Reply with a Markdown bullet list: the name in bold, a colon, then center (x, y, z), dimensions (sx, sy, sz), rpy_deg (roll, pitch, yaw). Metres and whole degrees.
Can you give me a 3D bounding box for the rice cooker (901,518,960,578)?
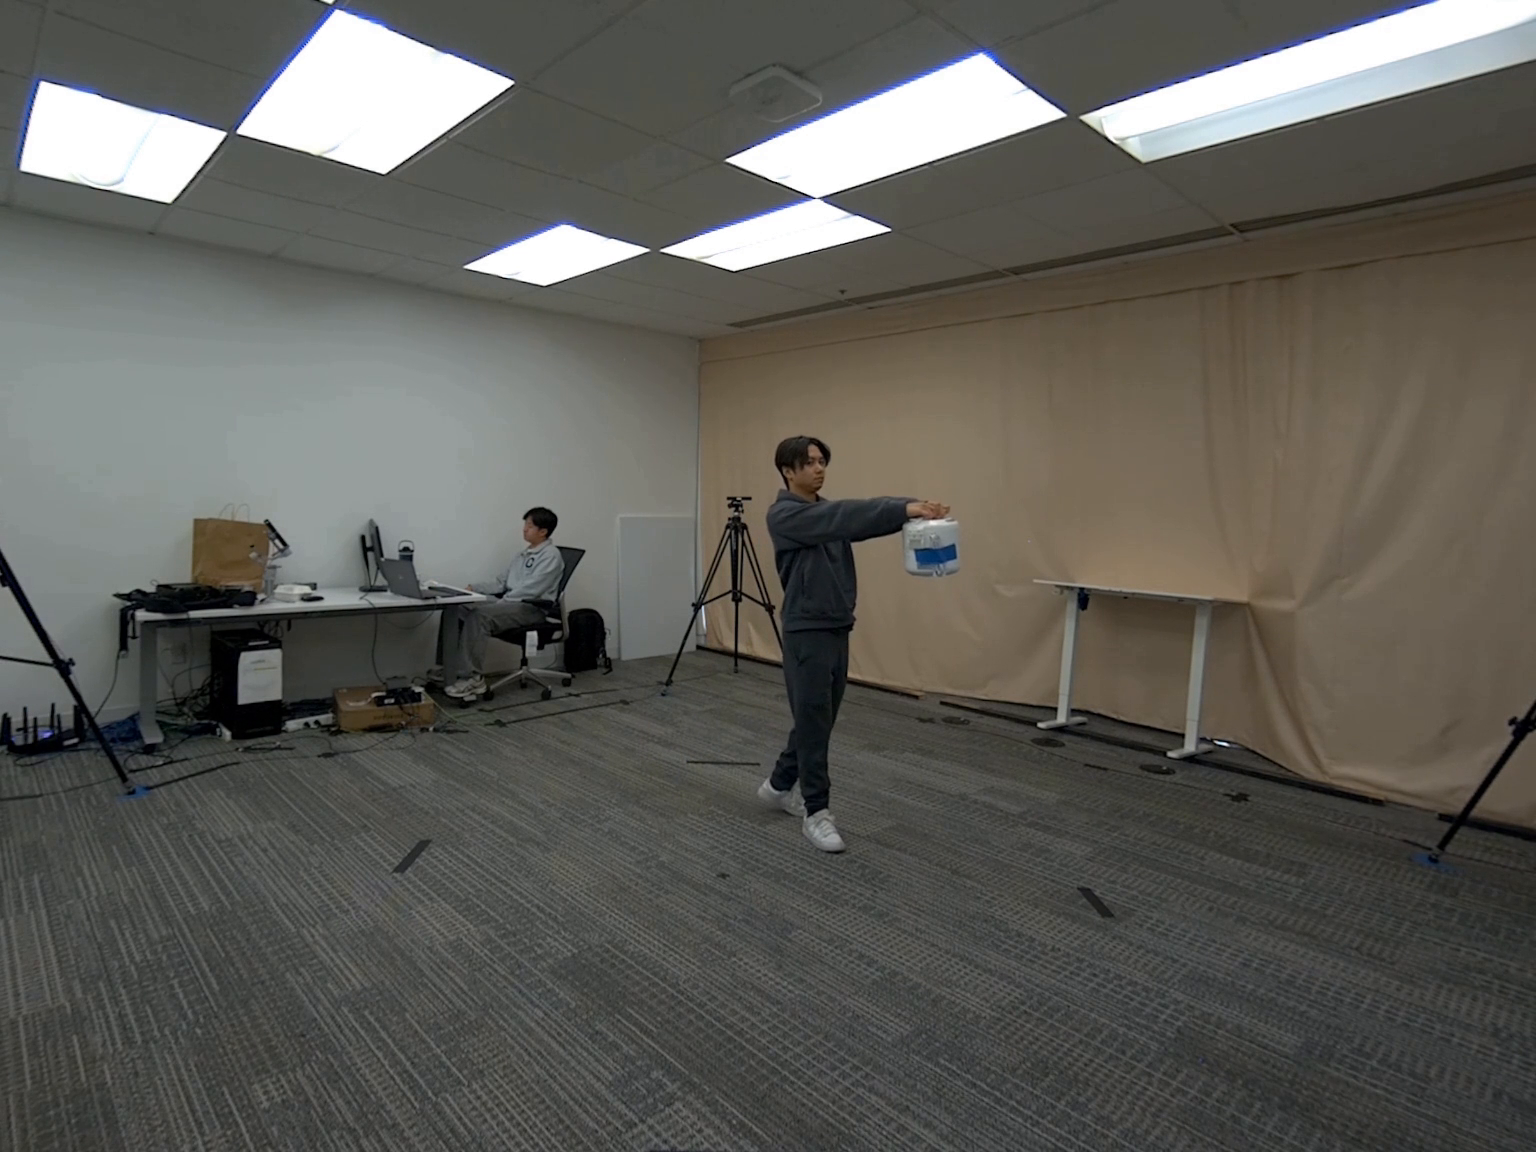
- **rice cooker**: center (0.600, -0.121, 3.143), dimensions (0.216, 0.232, 0.223), rpy_deg (-7, 7, -42)
